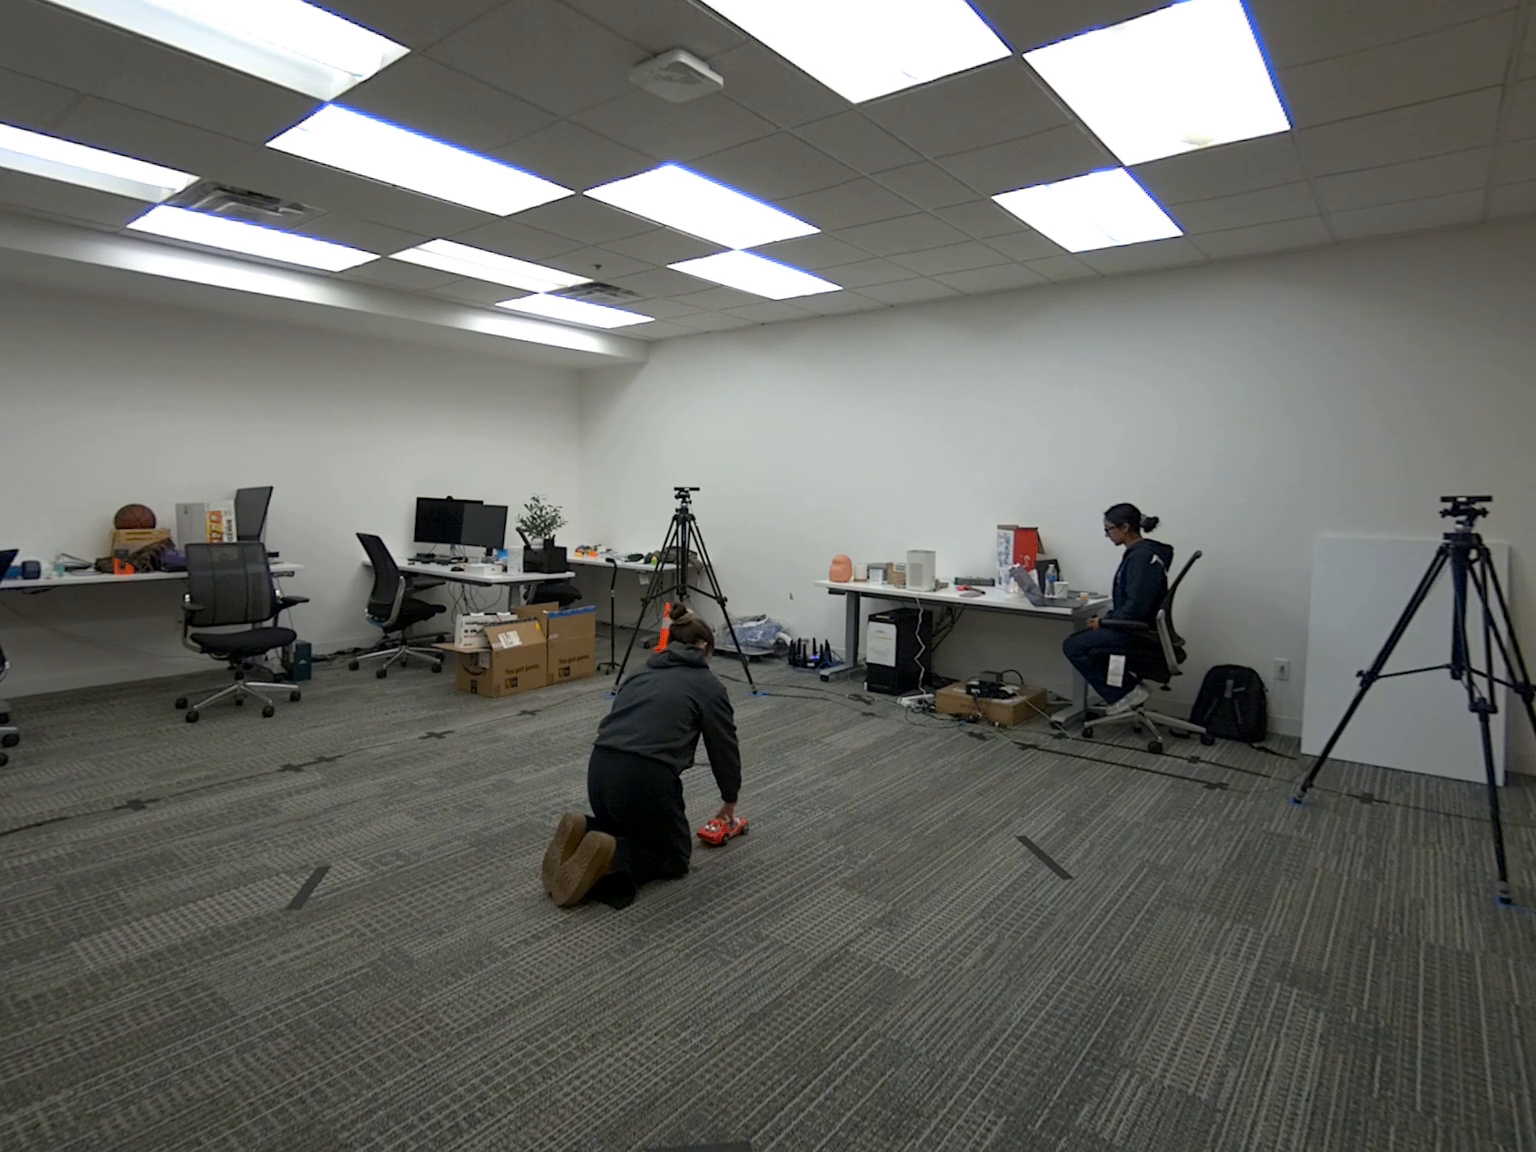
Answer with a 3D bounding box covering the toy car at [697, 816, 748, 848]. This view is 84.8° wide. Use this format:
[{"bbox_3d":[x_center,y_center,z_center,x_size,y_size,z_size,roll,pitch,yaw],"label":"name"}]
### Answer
[{"bbox_3d":[-0.187,1.009,3.379,0.134,0.083,0.245,6,-4,34],"label":"toy car"}]
